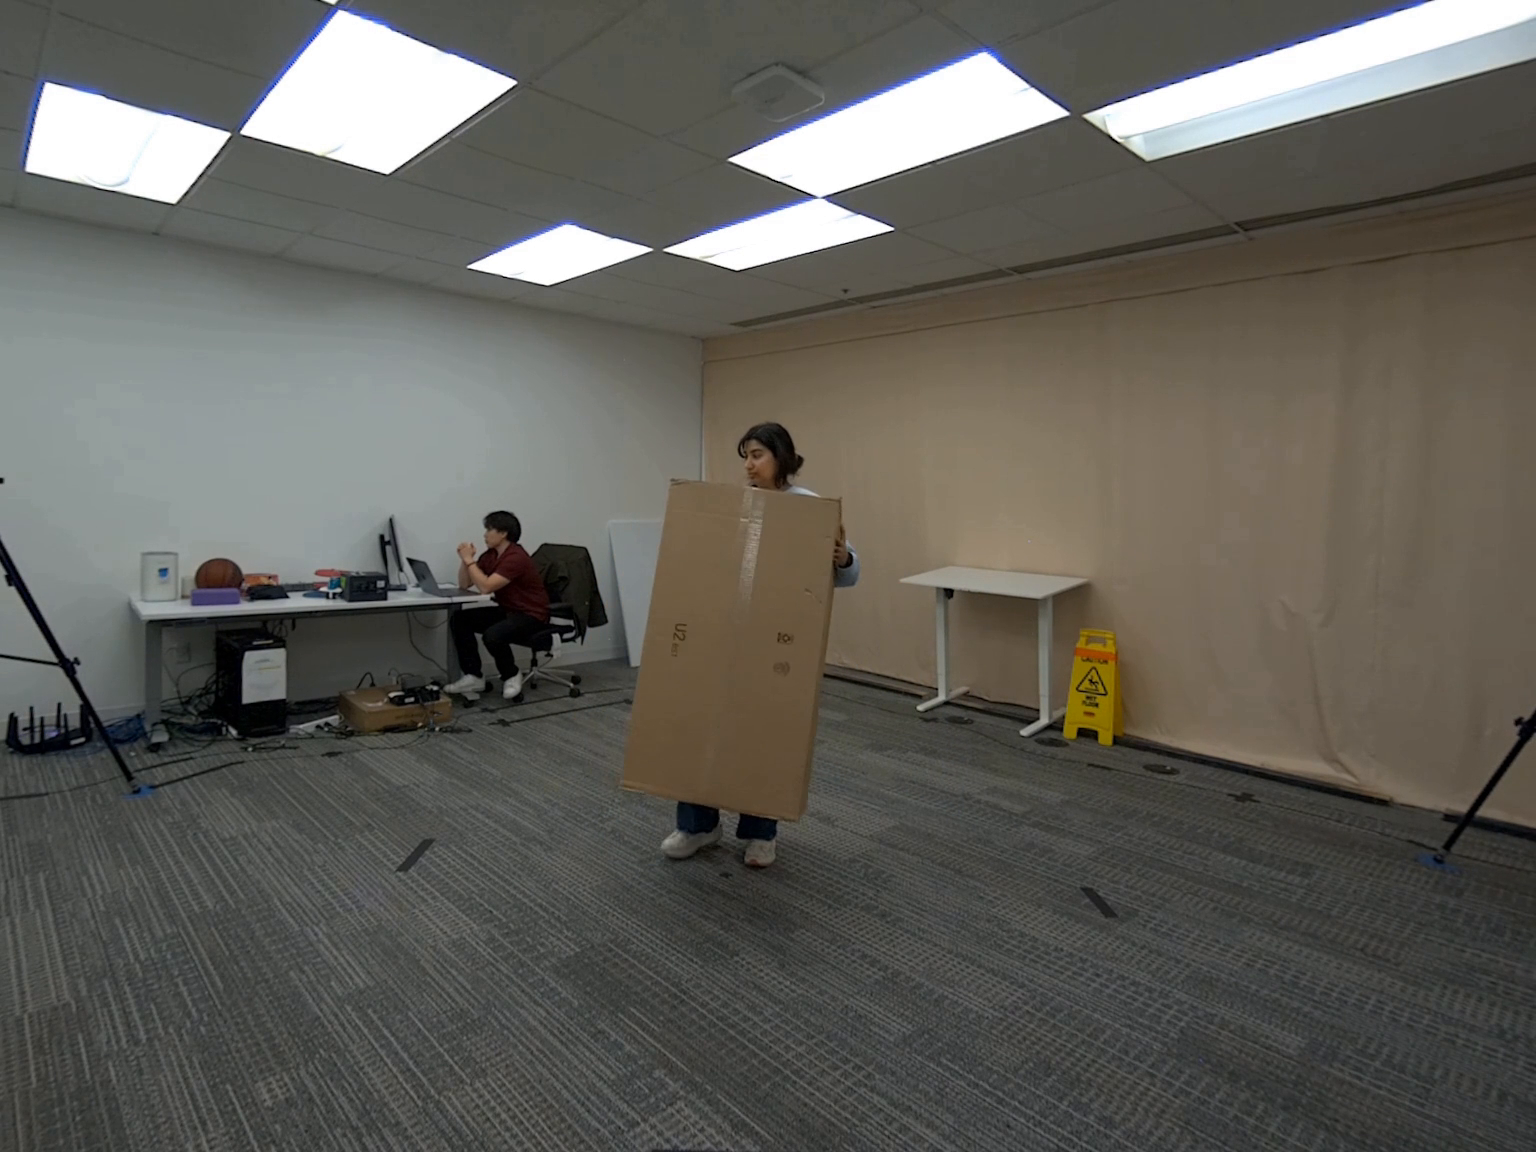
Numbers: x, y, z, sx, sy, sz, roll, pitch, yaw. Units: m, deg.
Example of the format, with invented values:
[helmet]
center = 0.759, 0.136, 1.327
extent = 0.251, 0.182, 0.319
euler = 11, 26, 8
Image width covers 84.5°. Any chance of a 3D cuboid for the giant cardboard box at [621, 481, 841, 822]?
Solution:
[giant cardboard box]
center = -0.109, 0.245, 2.885
extent = 0.589, 1.033, 0.440
euler = 7, -10, 10
